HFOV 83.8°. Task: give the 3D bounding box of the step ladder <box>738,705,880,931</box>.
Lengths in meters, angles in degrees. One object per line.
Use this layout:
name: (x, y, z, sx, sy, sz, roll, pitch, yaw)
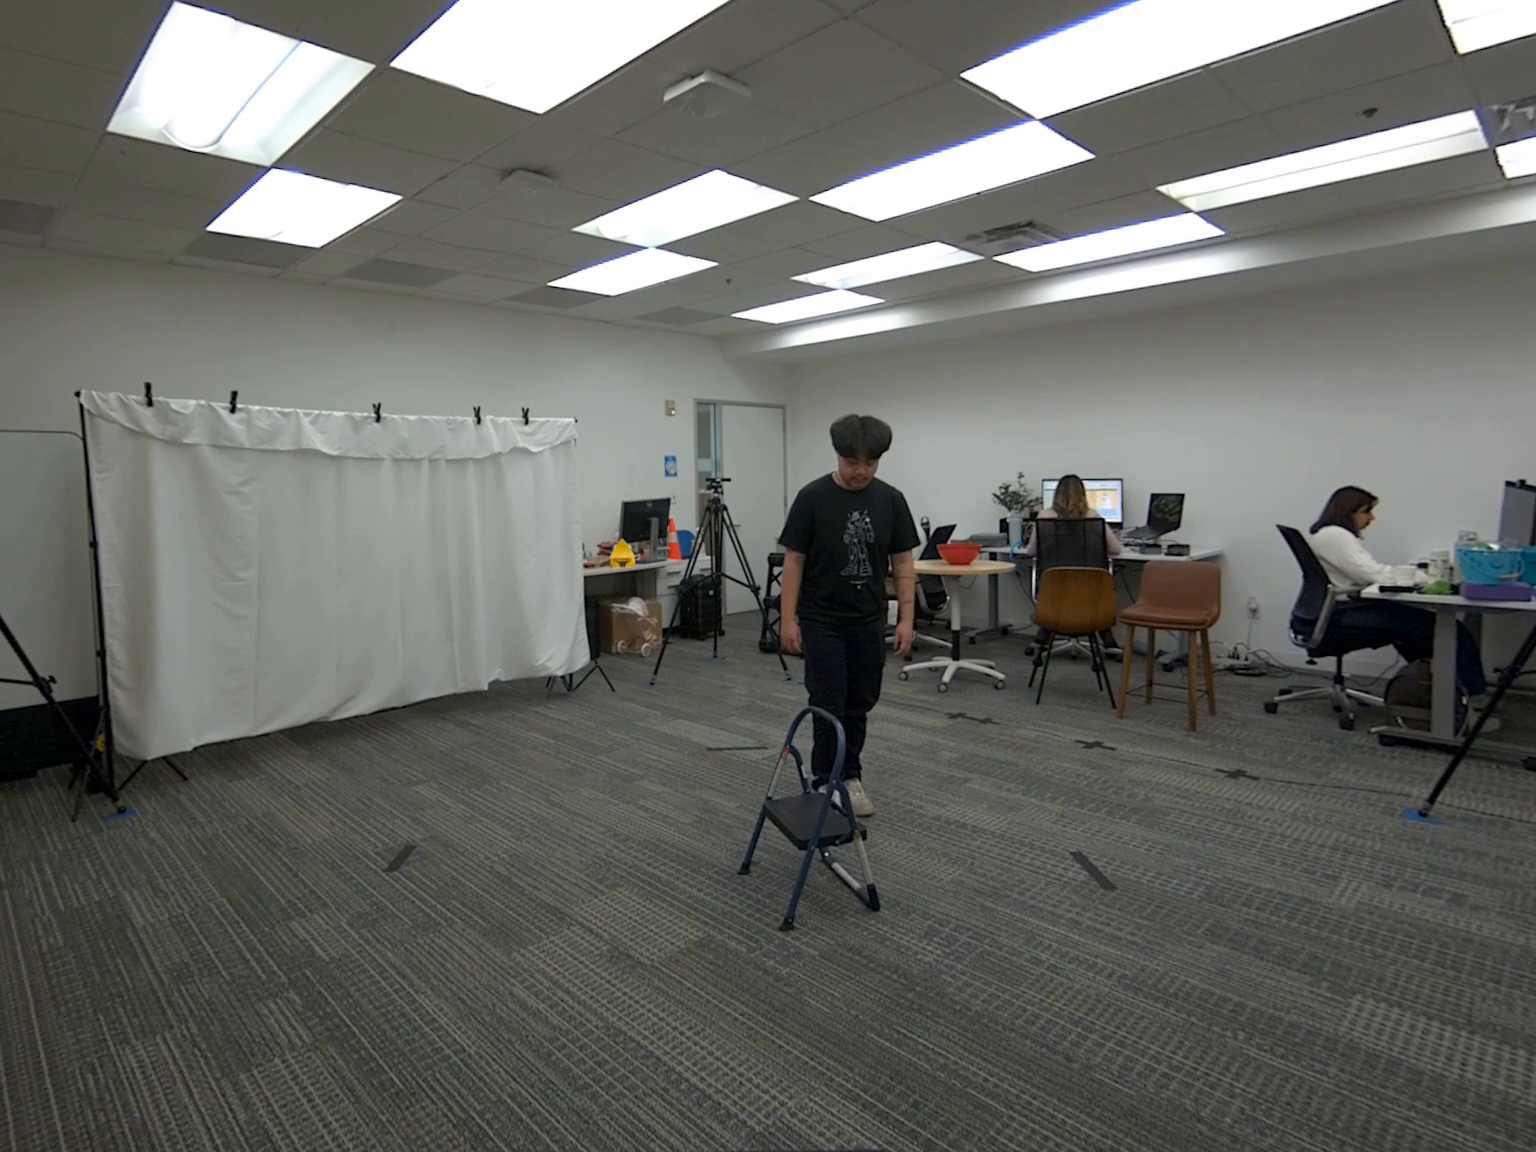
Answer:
step ladder: (0.126, 0.761, 2.866, 0.343, 0.604, 0.440, -2, 5, -20)
